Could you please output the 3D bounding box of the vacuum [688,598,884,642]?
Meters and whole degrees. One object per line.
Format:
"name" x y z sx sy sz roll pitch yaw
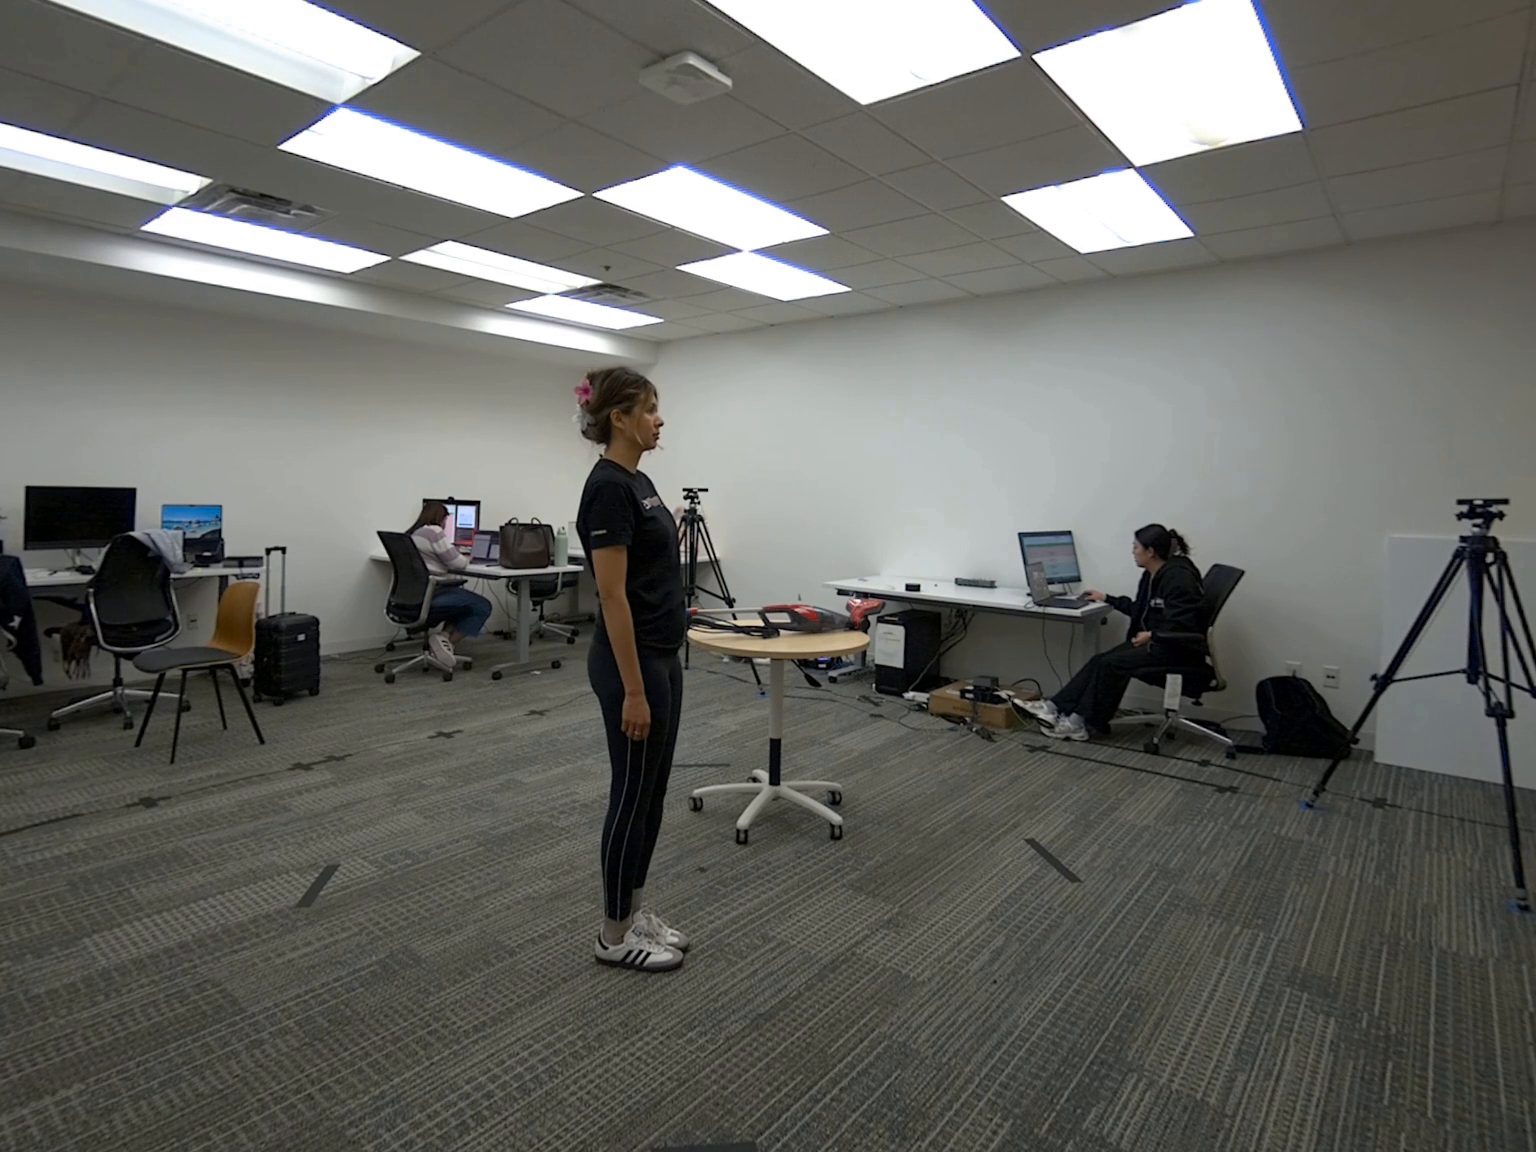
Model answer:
"vacuum" -0.033 0.196 3.544 1.023 0.144 0.258 -3 -2 -27
